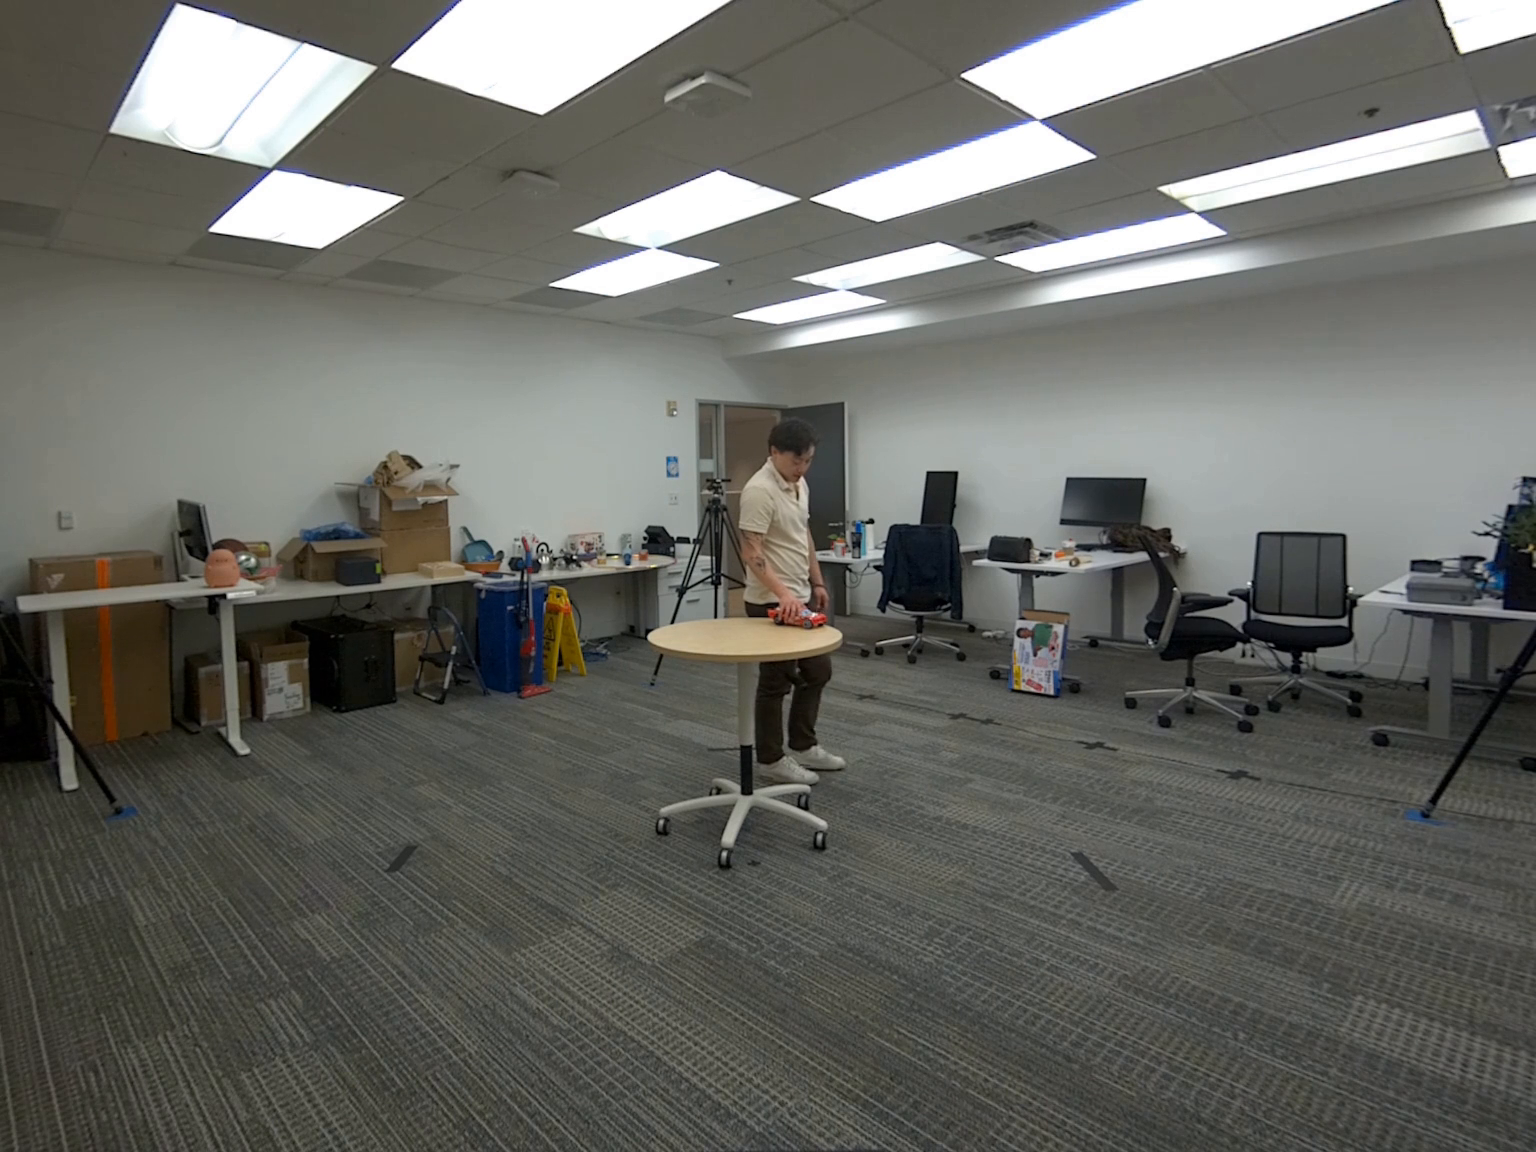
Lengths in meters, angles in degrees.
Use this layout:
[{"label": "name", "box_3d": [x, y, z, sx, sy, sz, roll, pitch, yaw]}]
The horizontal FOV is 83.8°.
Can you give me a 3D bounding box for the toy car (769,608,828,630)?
[{"label": "toy car", "box_3d": [0.116, 0.175, 3.568, 0.264, 0.082, 0.127, 19, 18, 38]}]
